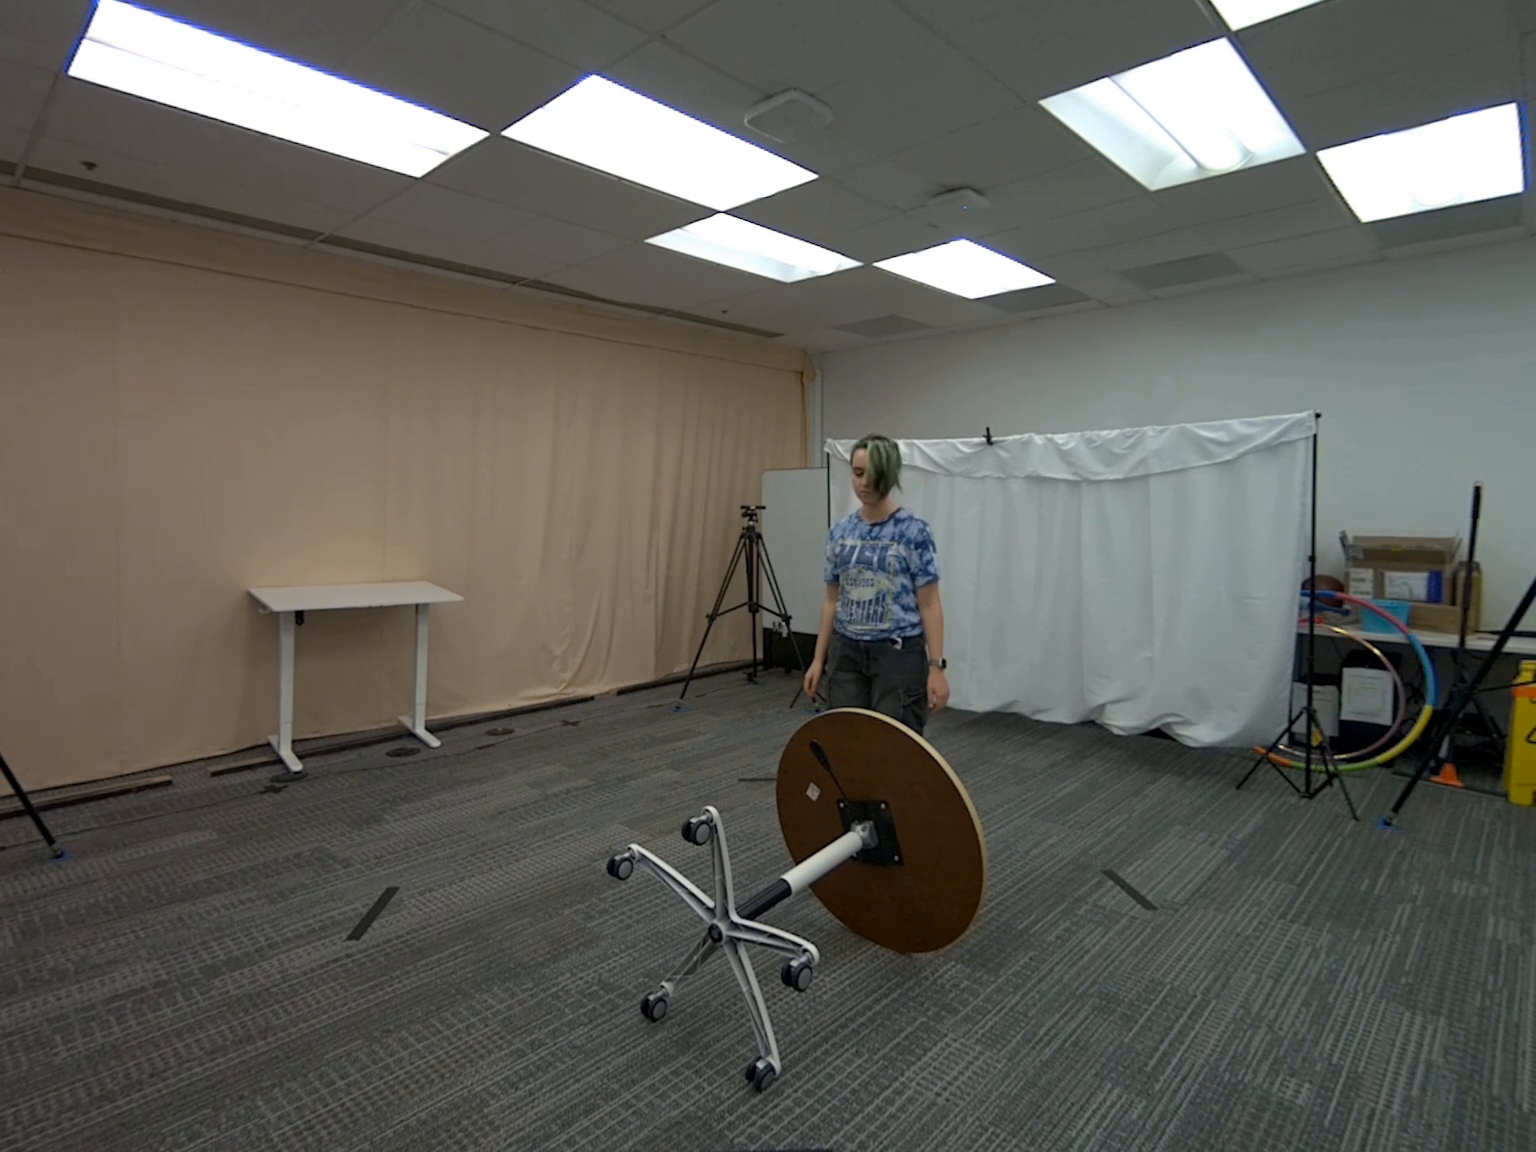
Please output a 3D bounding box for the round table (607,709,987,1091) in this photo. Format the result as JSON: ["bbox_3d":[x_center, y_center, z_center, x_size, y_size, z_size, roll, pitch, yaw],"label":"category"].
[{"bbox_3d":[0.073,0.859,2.363,0.789,0.759,0.773,4,12,43],"label":"round table"}]
